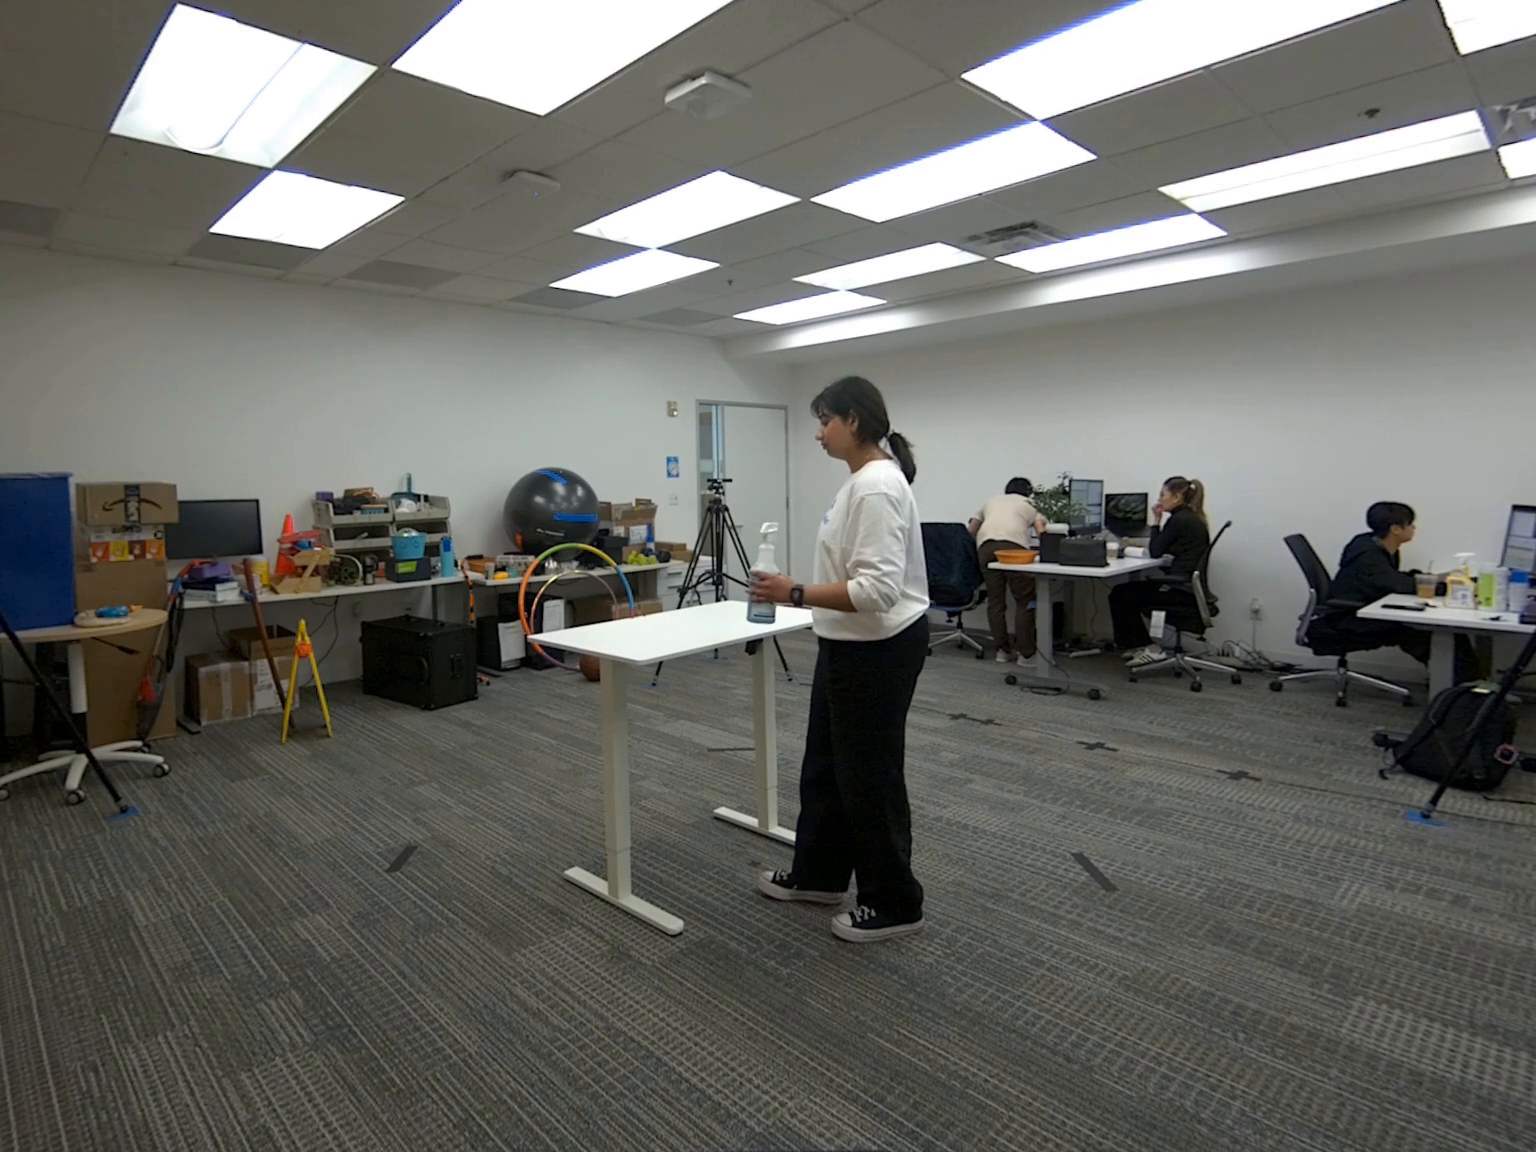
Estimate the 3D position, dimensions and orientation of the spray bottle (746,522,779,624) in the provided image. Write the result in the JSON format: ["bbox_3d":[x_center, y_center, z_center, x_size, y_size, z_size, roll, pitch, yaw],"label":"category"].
[{"bbox_3d":[0.001,-0.013,2.536,0.088,0.296,0.089,2,4,-32],"label":"spray bottle"}]
